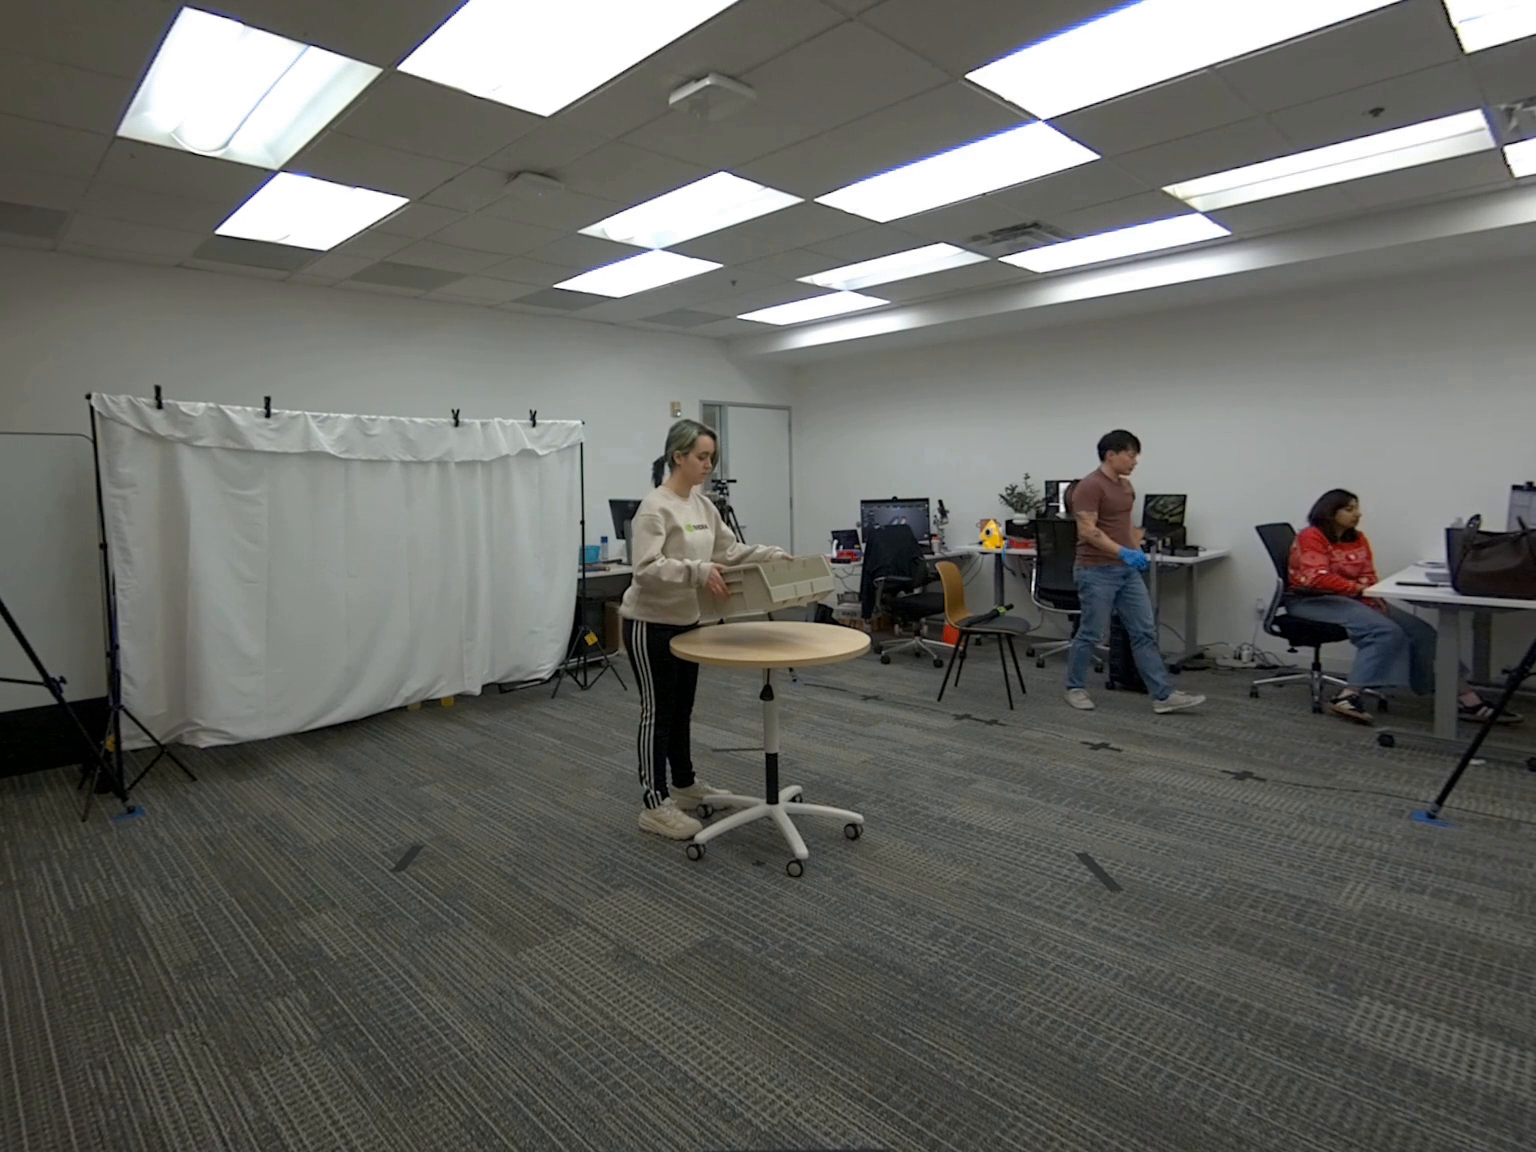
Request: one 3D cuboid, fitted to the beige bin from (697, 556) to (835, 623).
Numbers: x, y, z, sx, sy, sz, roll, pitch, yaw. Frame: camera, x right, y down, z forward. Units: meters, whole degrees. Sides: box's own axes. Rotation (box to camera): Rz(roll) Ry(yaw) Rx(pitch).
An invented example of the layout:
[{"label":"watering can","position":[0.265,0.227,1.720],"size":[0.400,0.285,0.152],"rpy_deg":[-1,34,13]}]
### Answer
[{"label":"beige bin","position":[-0.020,0.038,3.256],"size":[0.386,0.189,0.412],"rpy_deg":[-9,1,40]}]
